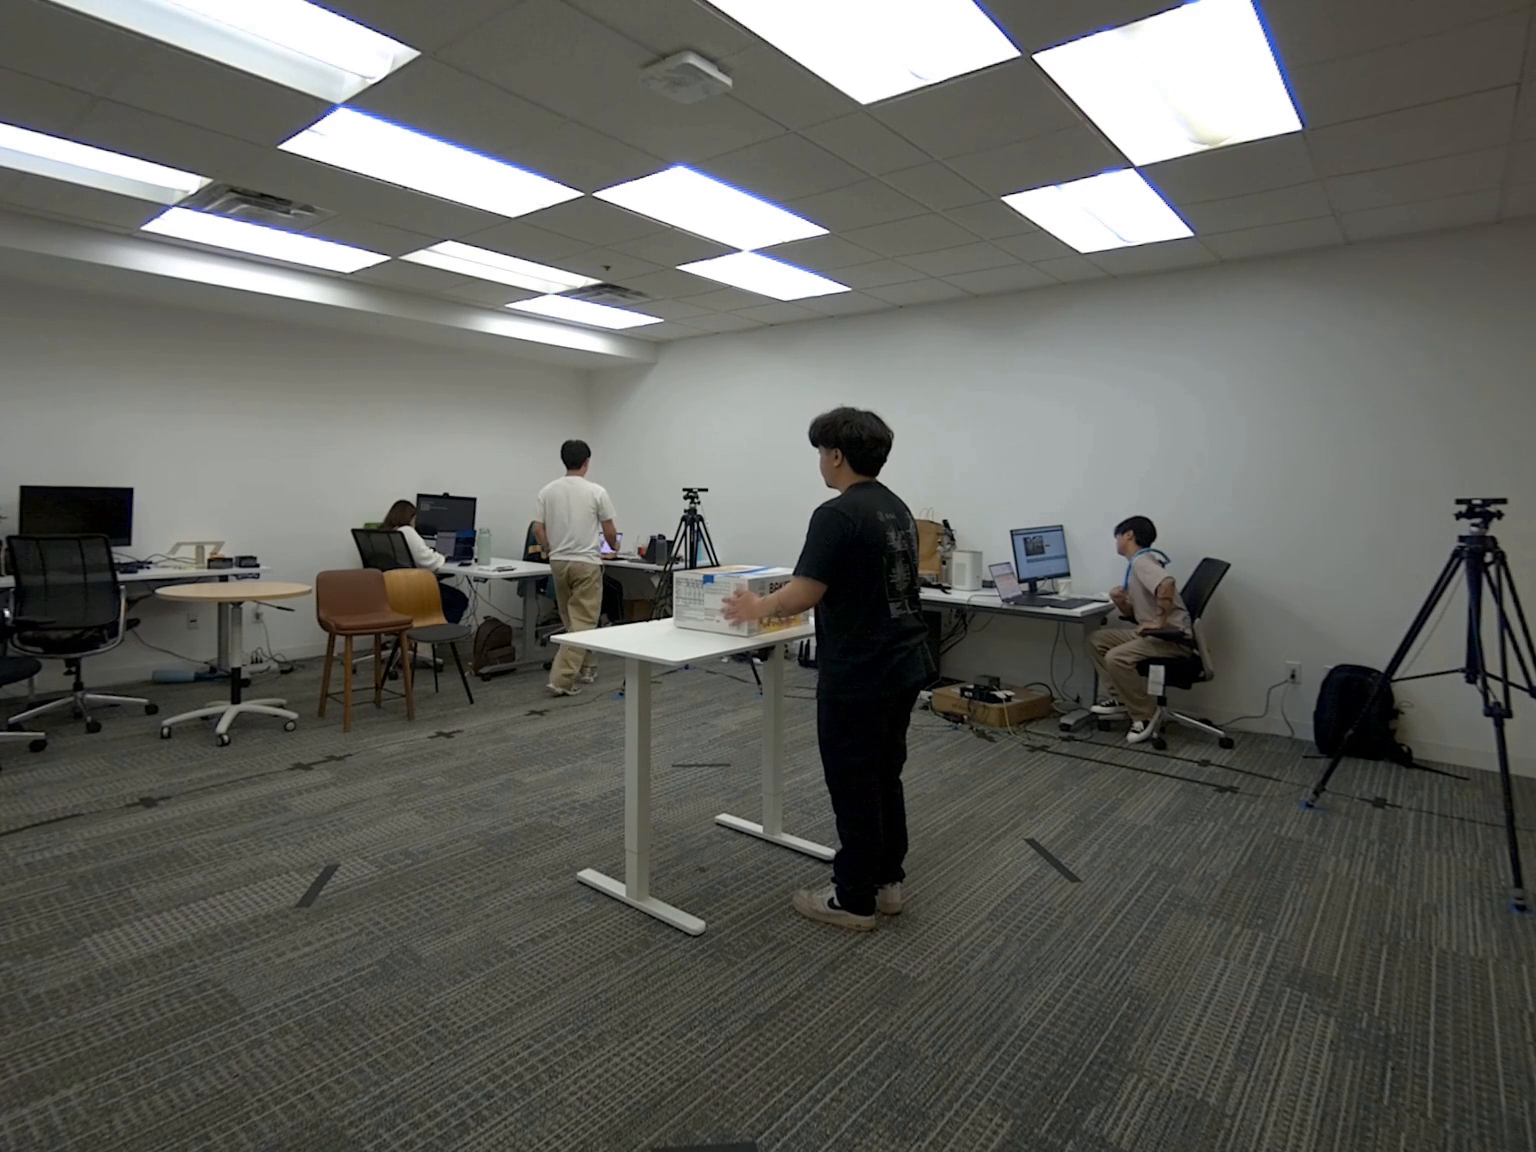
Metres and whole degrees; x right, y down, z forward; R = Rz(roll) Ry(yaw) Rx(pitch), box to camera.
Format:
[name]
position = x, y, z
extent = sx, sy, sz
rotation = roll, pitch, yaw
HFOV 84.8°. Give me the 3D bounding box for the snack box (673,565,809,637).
[snack box]
position = -0.102, 0.079, 3.155
extent = 0.351, 0.205, 0.394
rotation = 4, 6, 35
